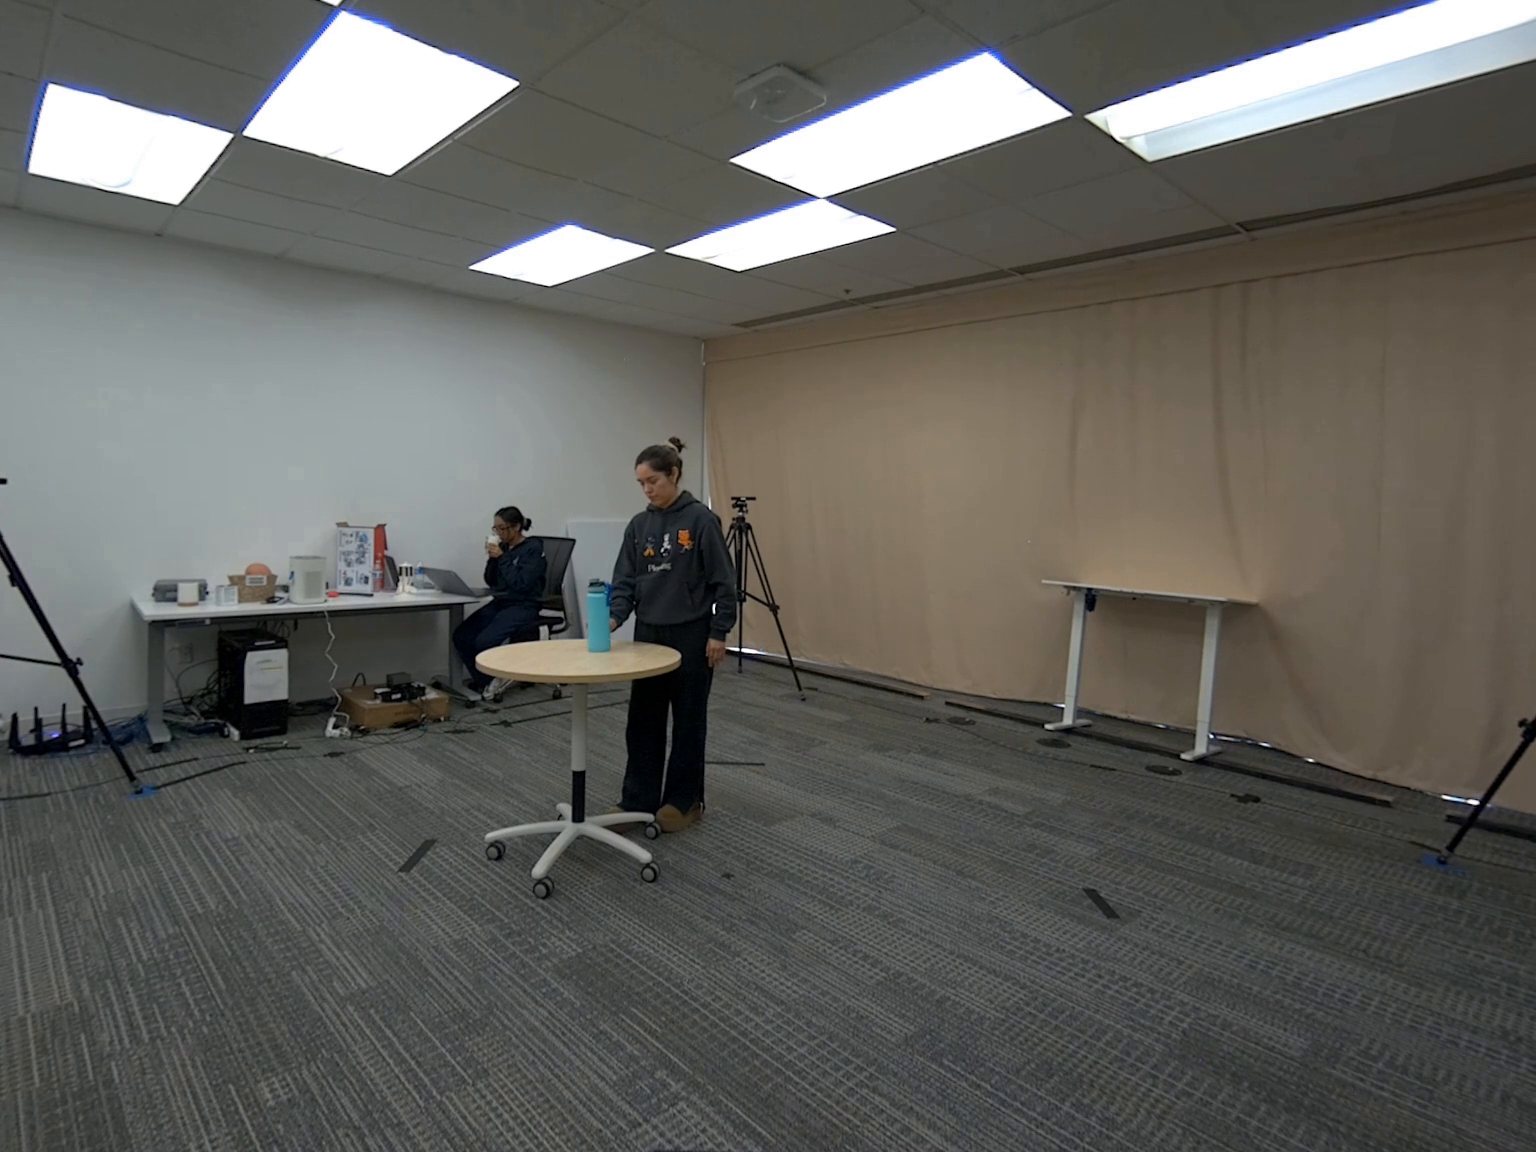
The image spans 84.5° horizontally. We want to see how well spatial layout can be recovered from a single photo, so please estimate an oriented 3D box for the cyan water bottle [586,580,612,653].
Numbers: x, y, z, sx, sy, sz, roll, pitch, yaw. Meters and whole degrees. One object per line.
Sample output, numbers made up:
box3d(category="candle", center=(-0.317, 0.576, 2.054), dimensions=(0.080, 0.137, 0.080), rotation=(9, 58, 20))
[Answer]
box3d(category="cyan water bottle", center=(-0.678, 0.152, 3.316), dimensions=(0.092, 0.283, 0.092), rotation=(2, 3, -1))
